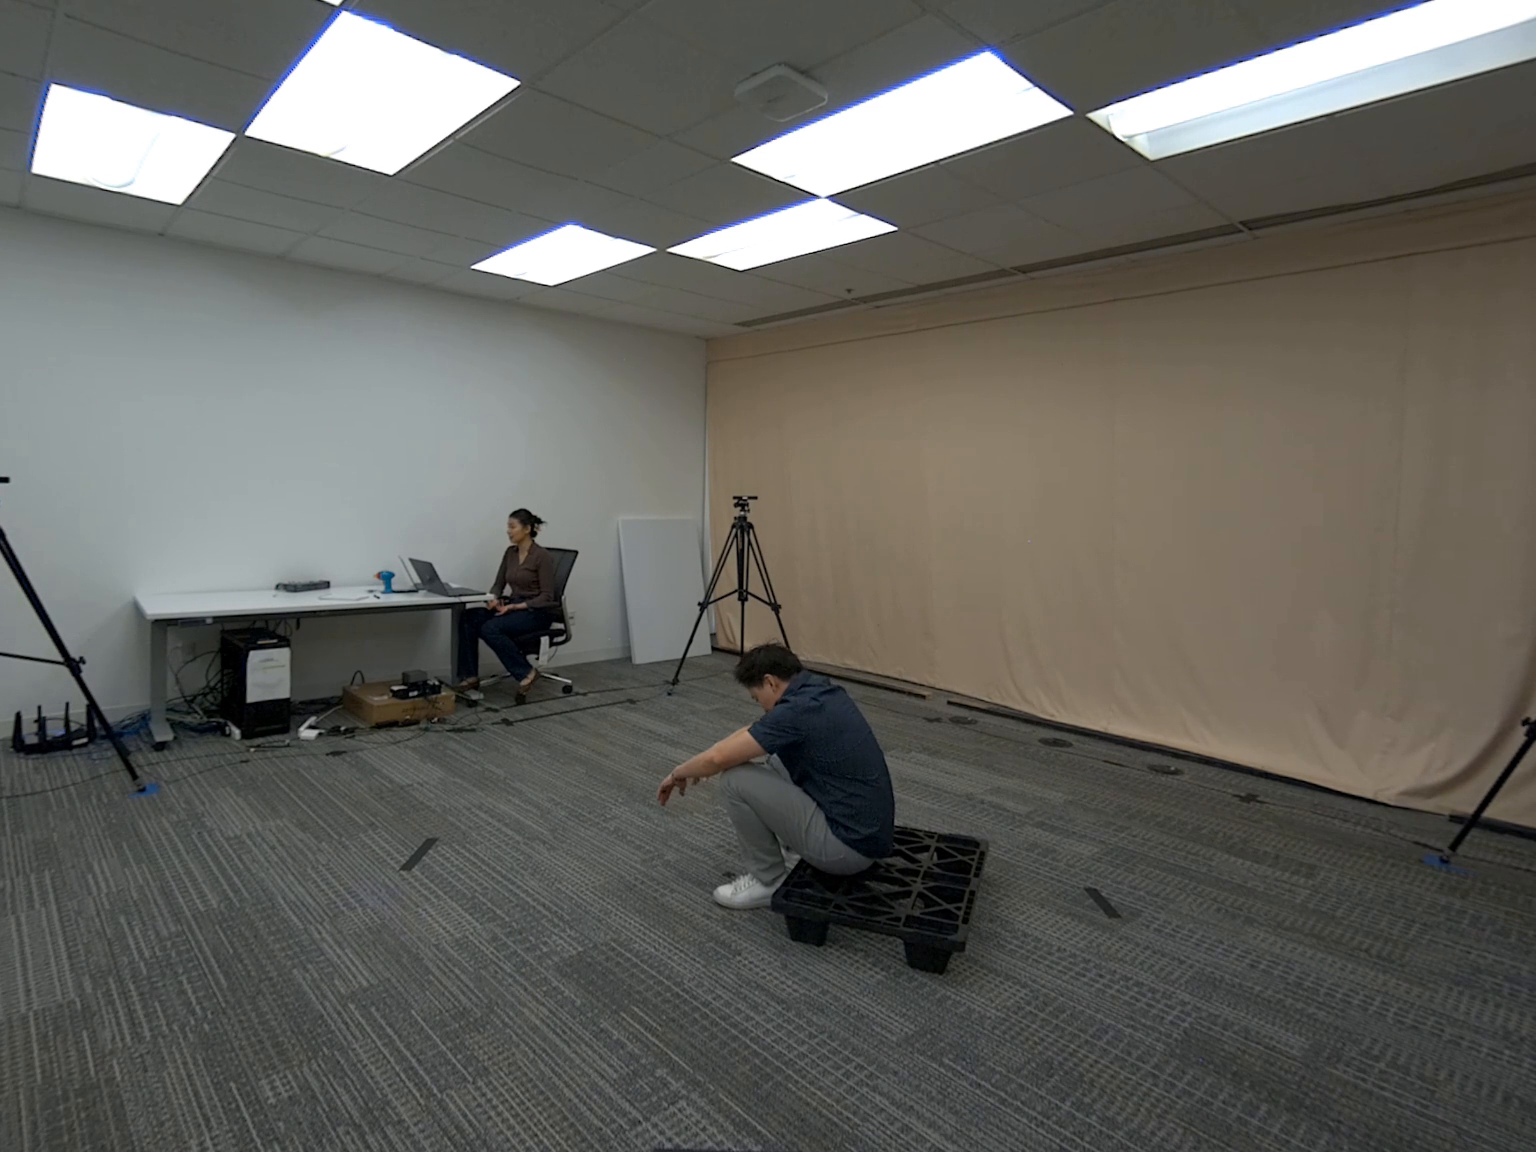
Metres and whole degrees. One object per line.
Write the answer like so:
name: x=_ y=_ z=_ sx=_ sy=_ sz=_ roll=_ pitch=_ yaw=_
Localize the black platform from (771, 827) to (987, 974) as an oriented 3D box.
black platform: x=0.404 y=1.069 z=2.896 sx=0.615 sy=0.143 sz=0.795 roll=3 pitch=5 yaw=20
